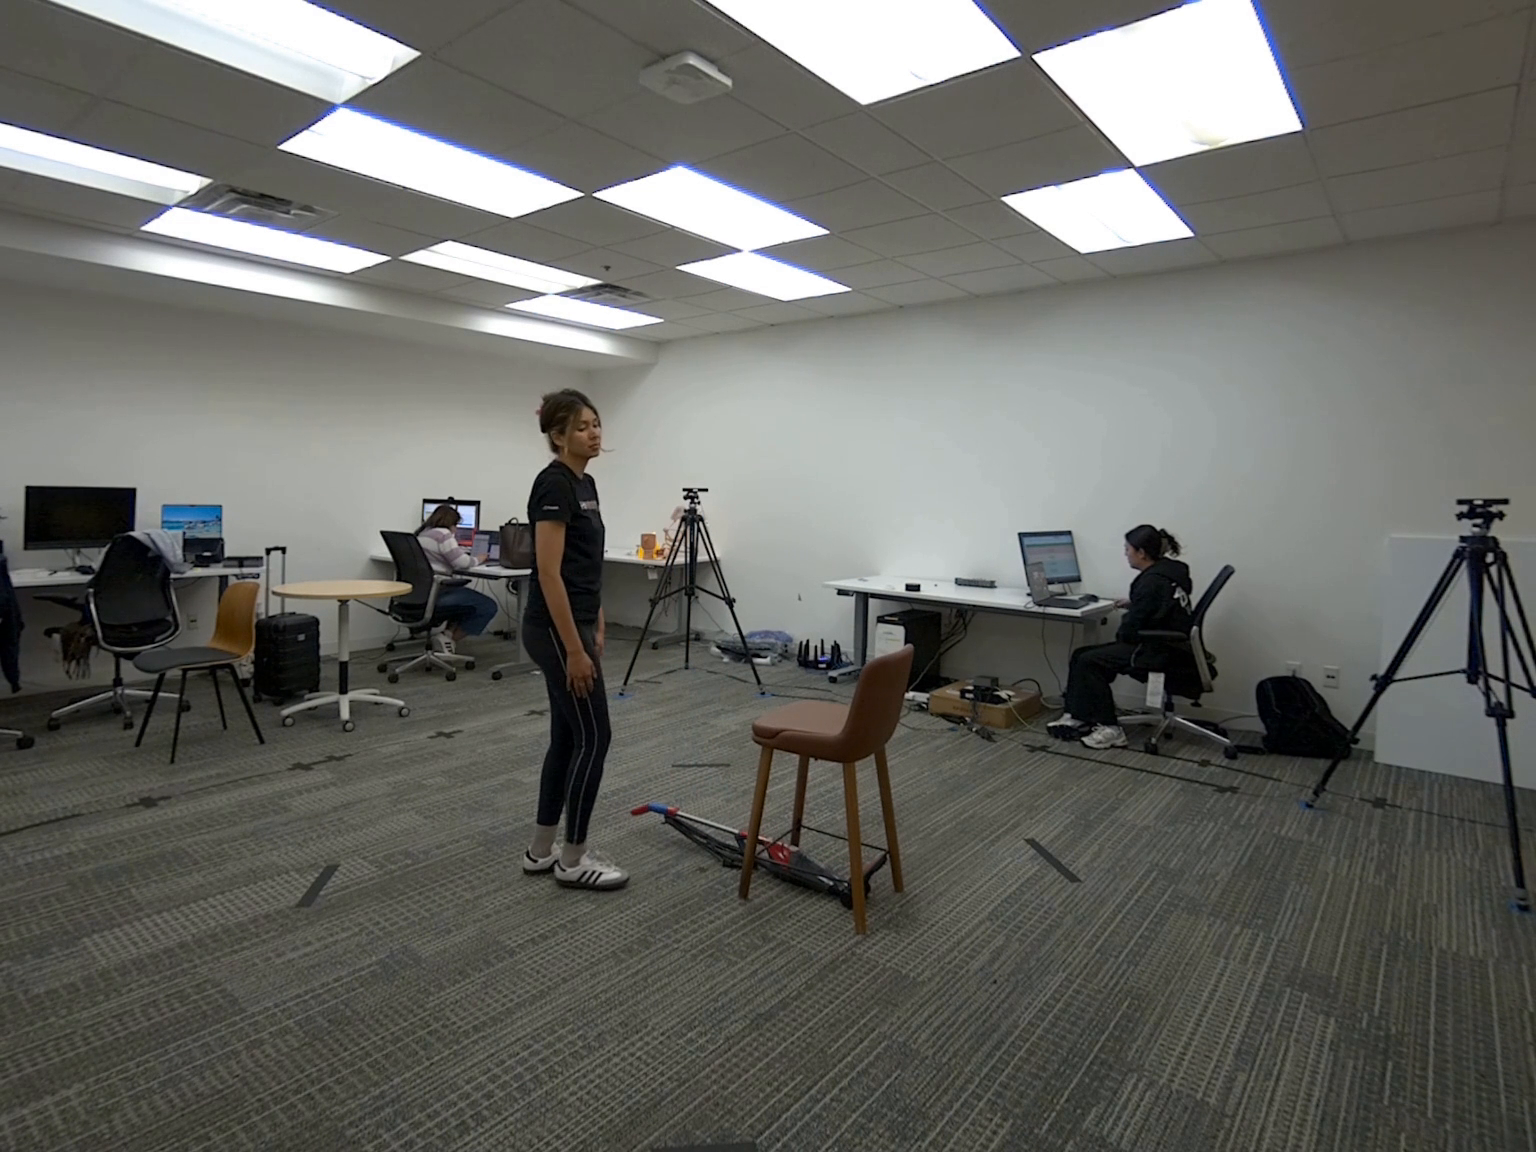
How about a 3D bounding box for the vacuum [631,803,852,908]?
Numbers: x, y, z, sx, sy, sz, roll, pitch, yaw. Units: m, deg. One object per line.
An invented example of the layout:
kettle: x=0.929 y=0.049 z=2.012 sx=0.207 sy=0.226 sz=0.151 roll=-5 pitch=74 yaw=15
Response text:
vacuum: x=-0.130 y=1.007 z=3.180 sx=1.083 sy=0.143 sz=0.245 roll=4 pitch=5 yaw=35
